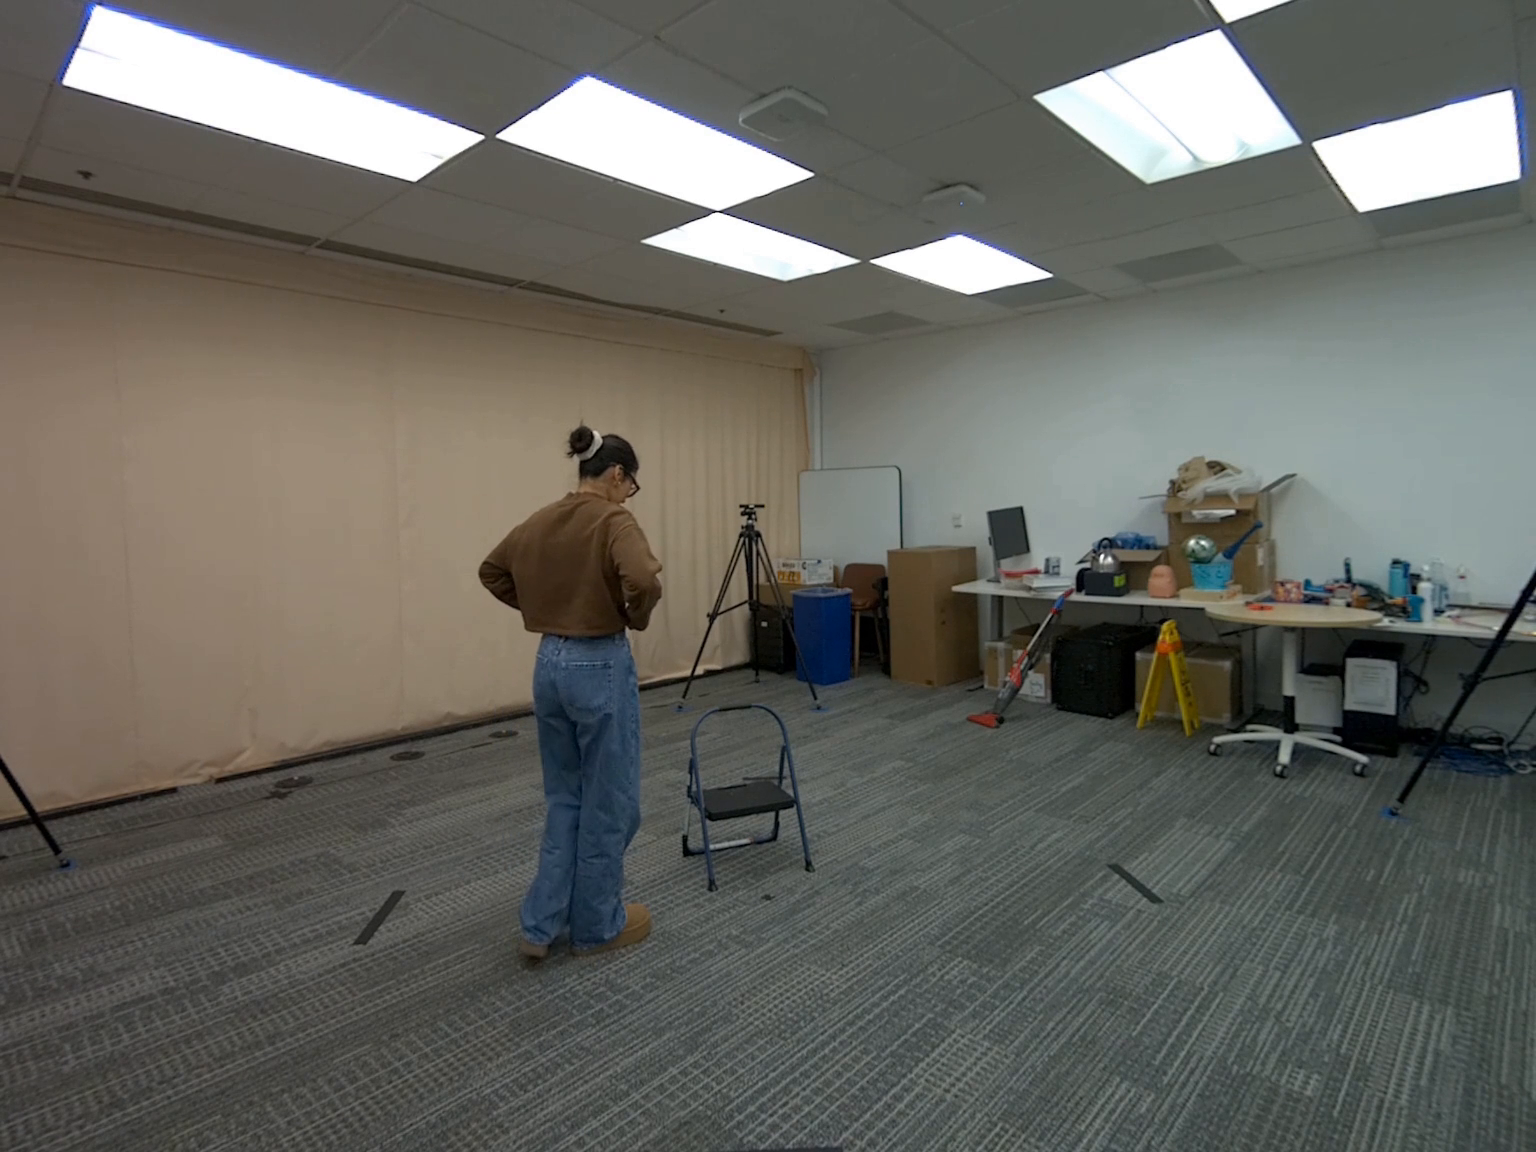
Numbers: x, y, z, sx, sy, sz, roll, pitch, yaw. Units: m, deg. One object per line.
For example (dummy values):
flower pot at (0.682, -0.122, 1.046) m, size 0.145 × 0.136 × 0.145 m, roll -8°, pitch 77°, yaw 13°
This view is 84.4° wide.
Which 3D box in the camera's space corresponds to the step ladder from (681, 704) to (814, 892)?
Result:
step ladder at (-0.086, 0.815, 3.259) m, size 0.421 × 0.605 × 0.358 m, roll -3°, pitch 4°, yaw -23°
